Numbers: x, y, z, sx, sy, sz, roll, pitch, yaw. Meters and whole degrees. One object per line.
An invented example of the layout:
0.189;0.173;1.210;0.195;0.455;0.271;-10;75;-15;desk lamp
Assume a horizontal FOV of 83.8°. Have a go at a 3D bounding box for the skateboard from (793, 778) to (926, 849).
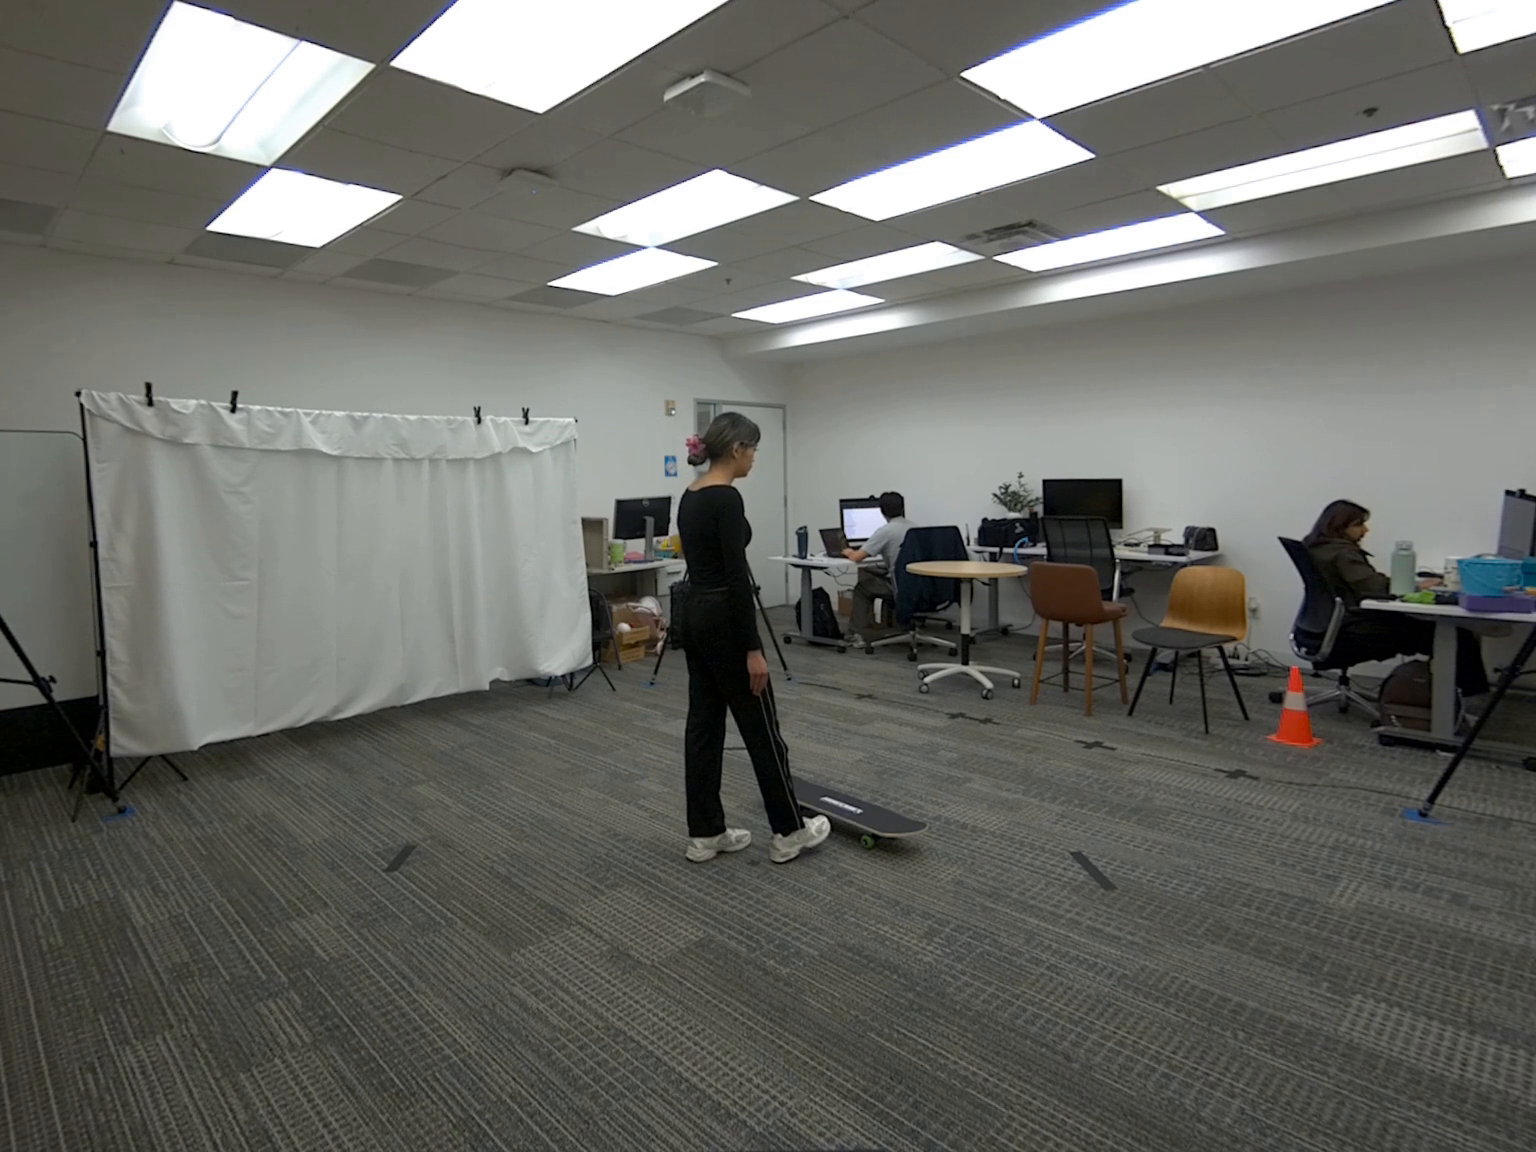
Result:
0.305;0.950;3.412;0.188;0.110;0.810;-5;7;-41;skateboard
